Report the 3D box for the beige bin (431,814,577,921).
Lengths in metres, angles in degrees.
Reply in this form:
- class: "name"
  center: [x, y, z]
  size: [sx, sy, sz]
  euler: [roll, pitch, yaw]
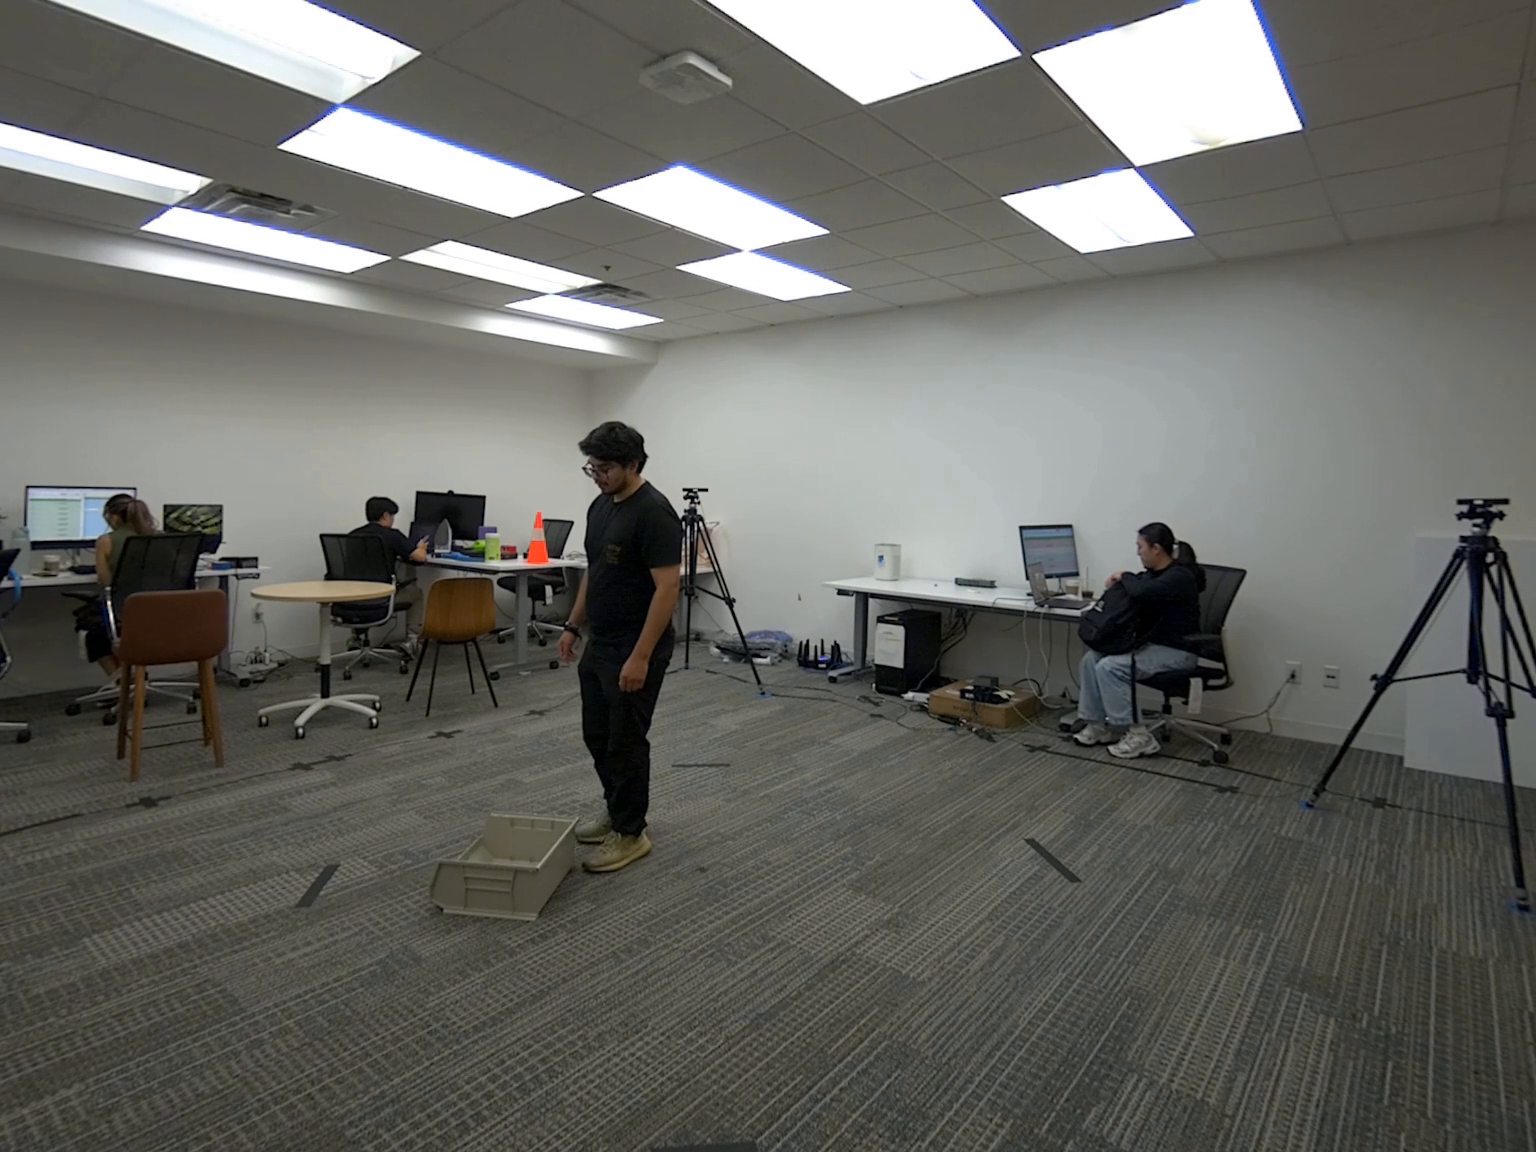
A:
- class: "beige bin"
  center: [-0.911, 0.989, 2.932]
  size: [0.380, 0.188, 0.420]
  euler: [2, 5, 6]
